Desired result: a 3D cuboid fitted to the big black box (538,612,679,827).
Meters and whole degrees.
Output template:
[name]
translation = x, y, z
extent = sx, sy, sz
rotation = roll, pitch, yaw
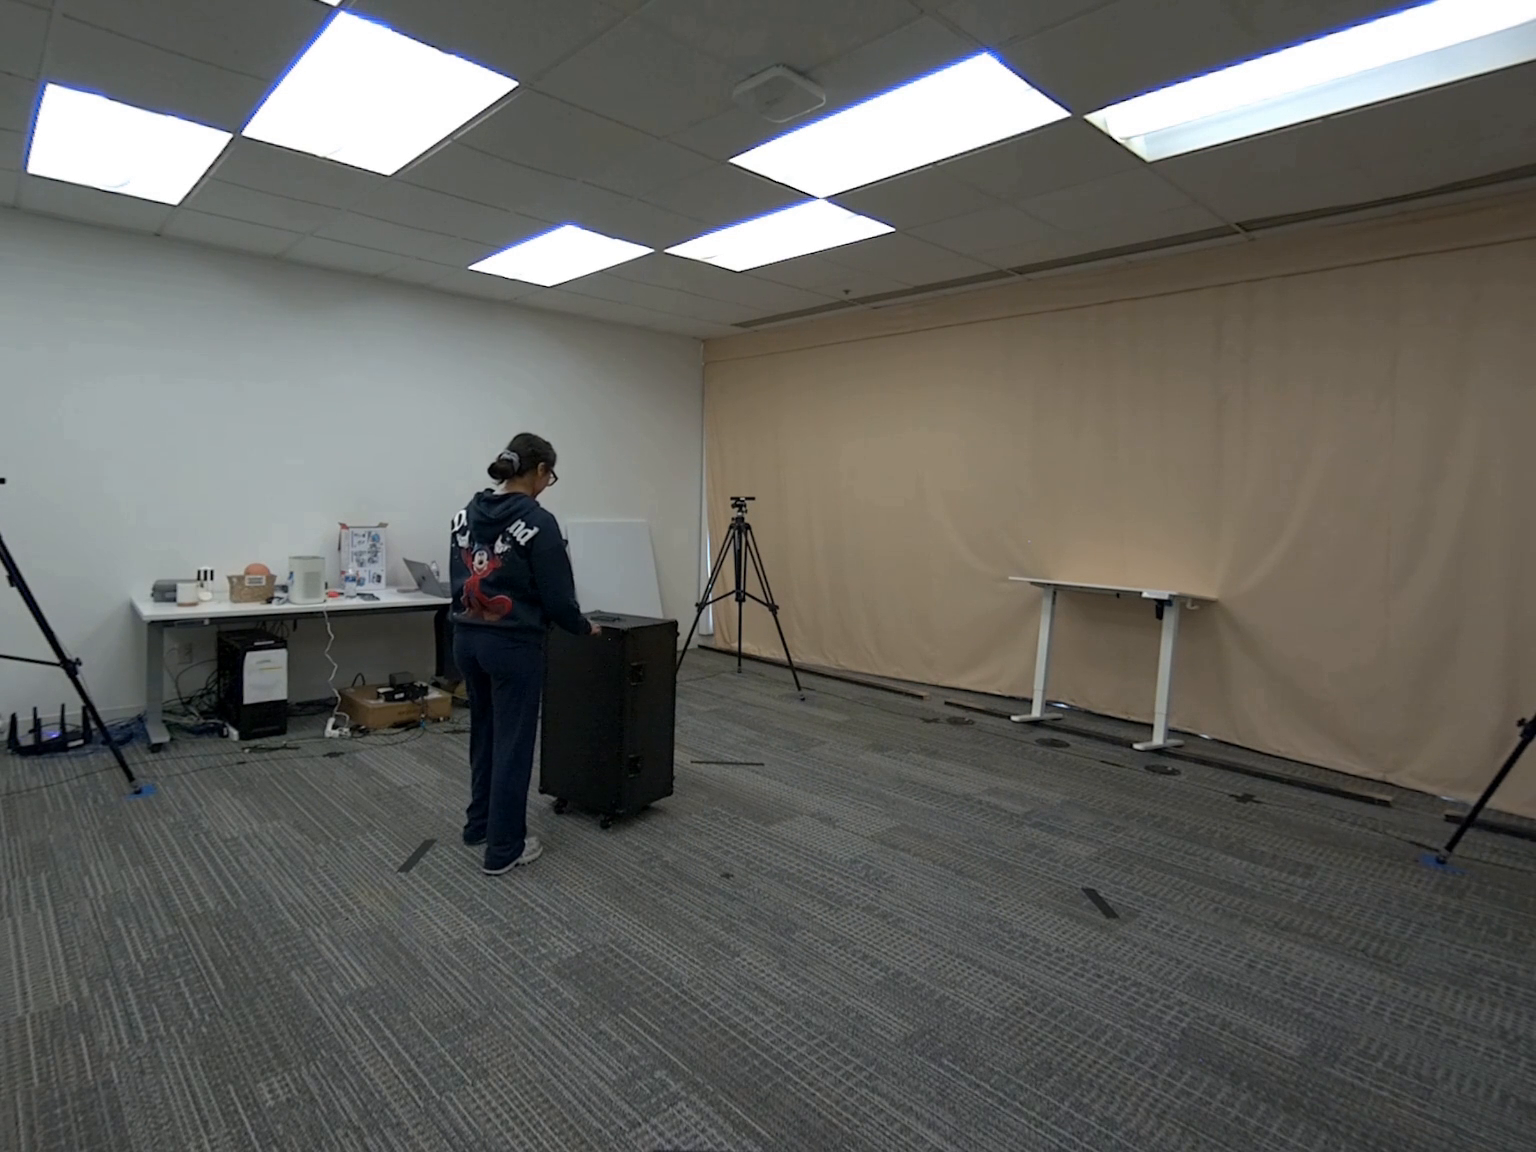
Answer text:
[big black box]
translation = -0.714, 0.612, 3.732
extent = 0.533, 0.860, 0.388
rotation = 4, 3, 32
